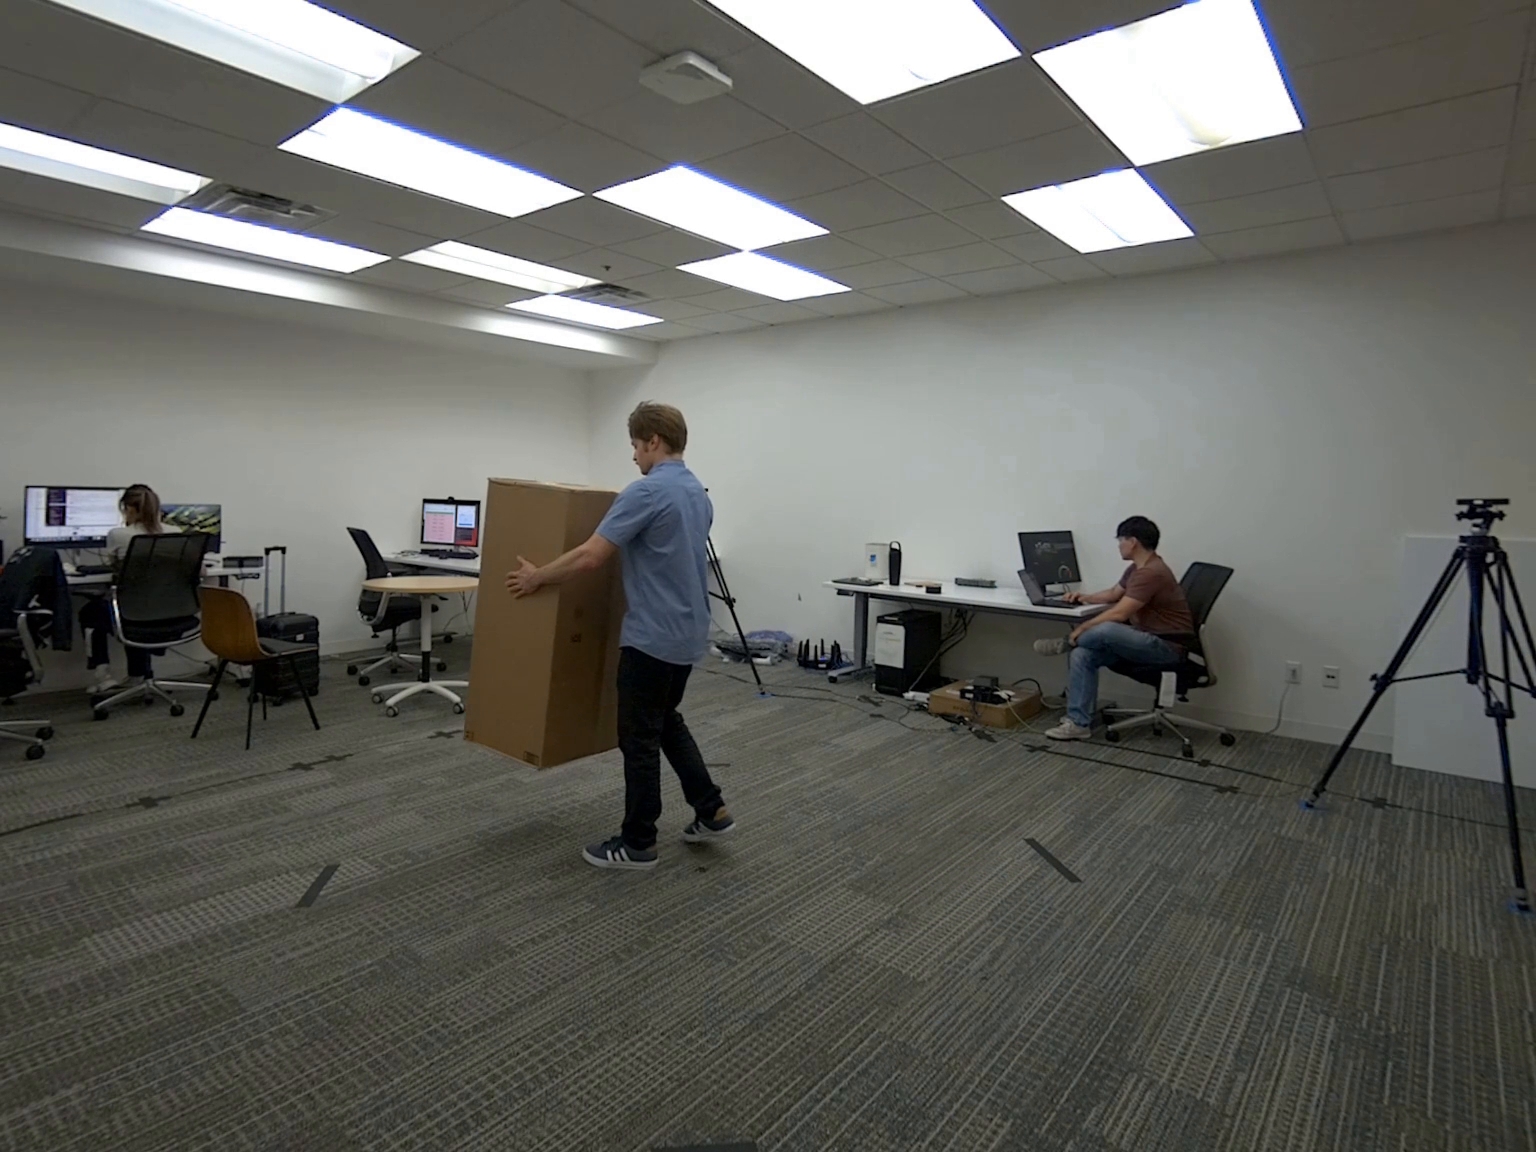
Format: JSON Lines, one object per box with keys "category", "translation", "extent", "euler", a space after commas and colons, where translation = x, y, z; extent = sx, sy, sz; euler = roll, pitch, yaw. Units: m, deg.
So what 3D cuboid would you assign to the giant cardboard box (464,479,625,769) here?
{"category": "giant cardboard box", "translation": [-0.812, 0.157, 3.378], "extent": [0.440, 1.022, 0.561], "euler": [9, 5, 31]}
